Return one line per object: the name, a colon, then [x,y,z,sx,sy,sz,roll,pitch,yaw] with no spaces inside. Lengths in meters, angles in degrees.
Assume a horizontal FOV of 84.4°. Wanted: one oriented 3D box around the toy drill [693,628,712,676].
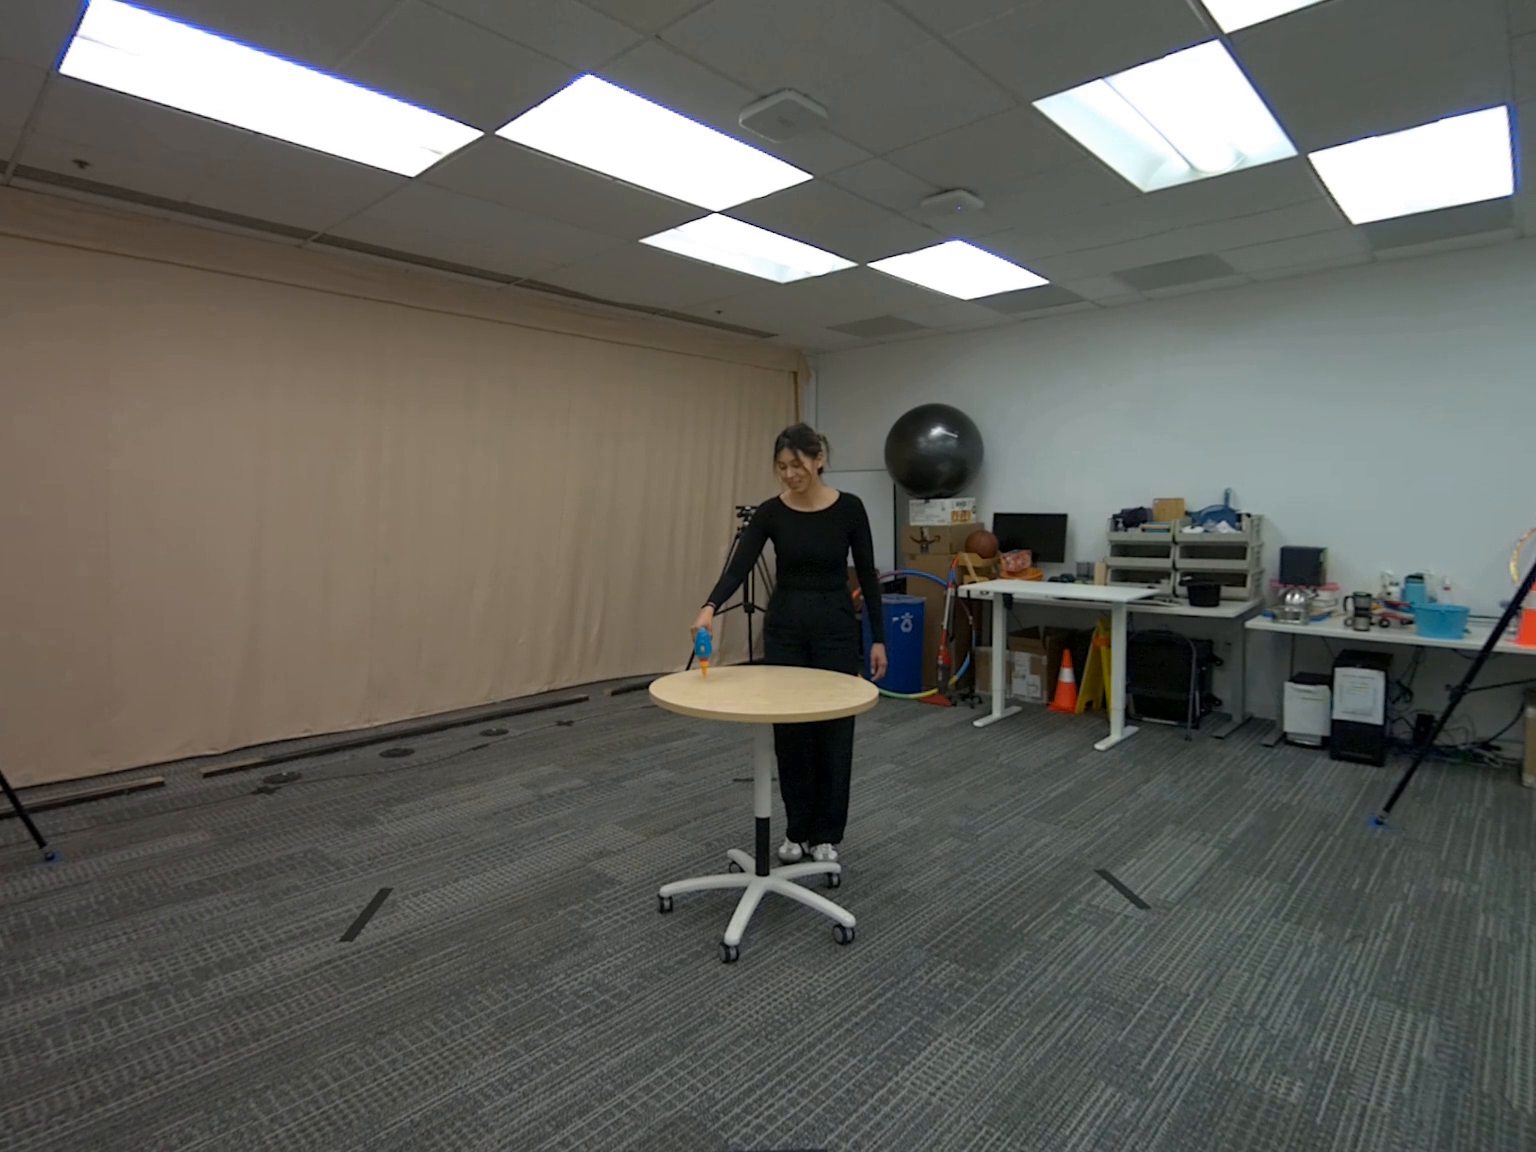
toy drill: [-0.223,0.260,2.972,0.061,0.169,0.146,-8,6,4]
